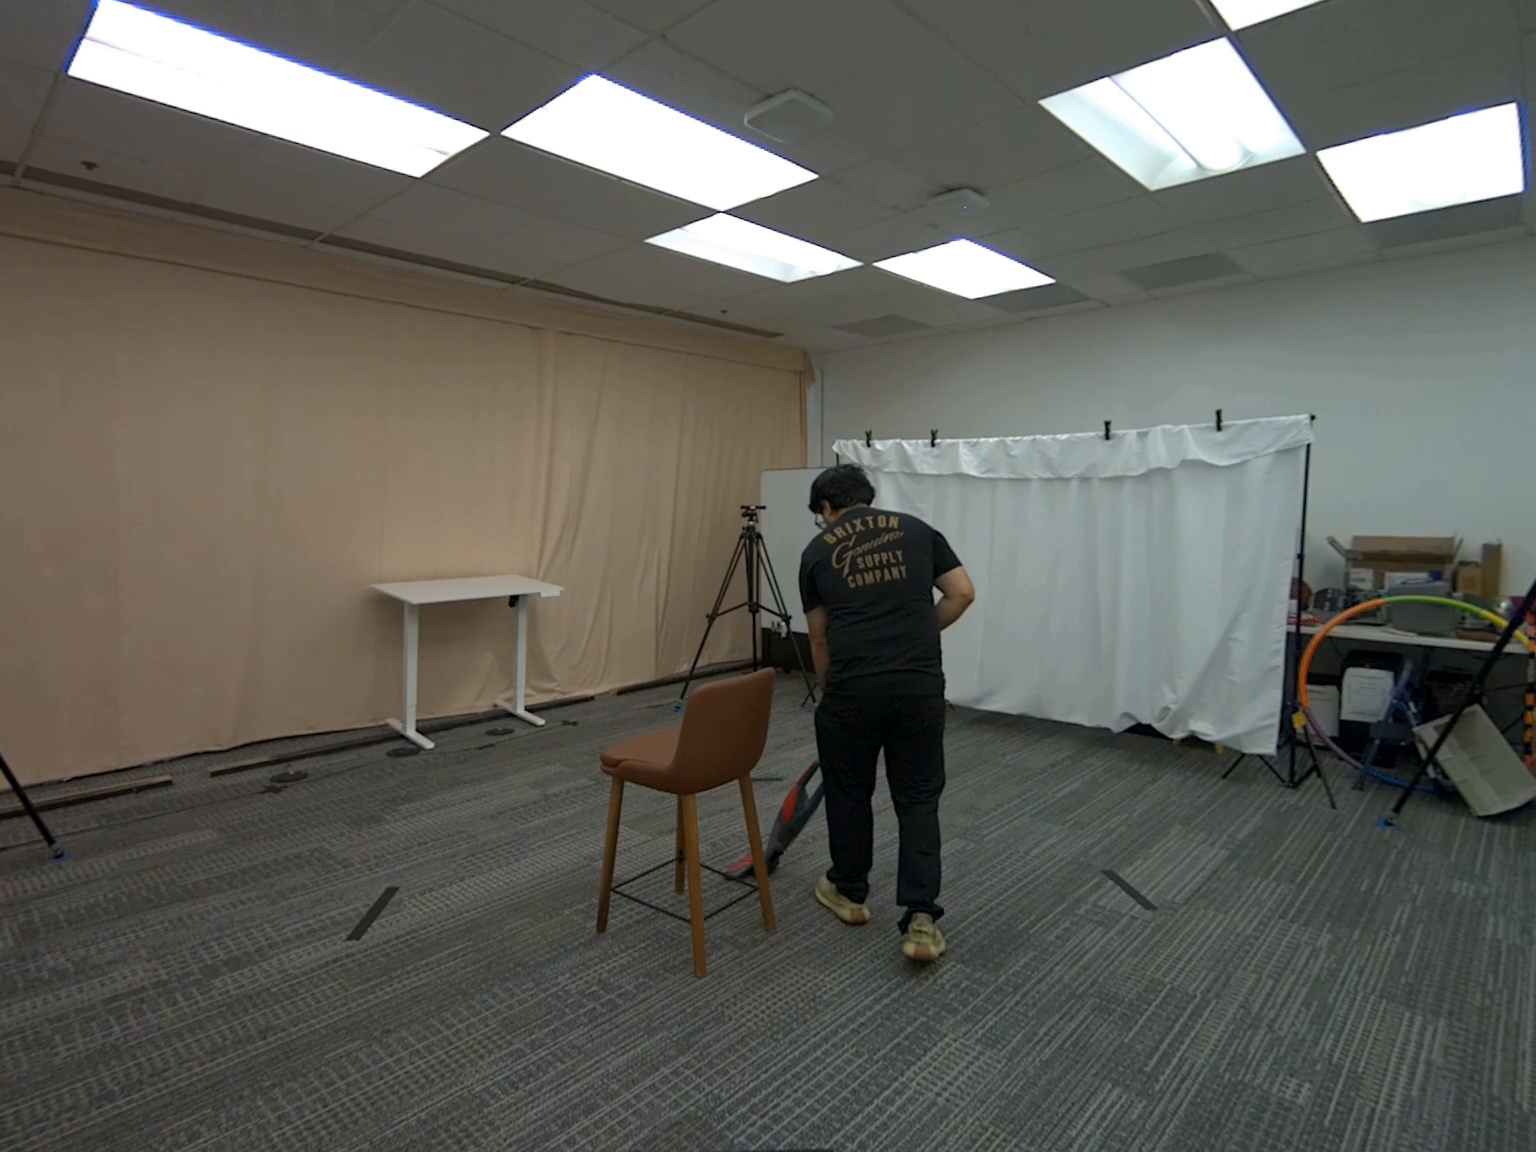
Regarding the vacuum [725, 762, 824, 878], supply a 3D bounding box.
[{"bbox_3d":[0.196,0.705,3.053,0.148,1.049,0.246,39,19,21],"label":"vacuum"}]
